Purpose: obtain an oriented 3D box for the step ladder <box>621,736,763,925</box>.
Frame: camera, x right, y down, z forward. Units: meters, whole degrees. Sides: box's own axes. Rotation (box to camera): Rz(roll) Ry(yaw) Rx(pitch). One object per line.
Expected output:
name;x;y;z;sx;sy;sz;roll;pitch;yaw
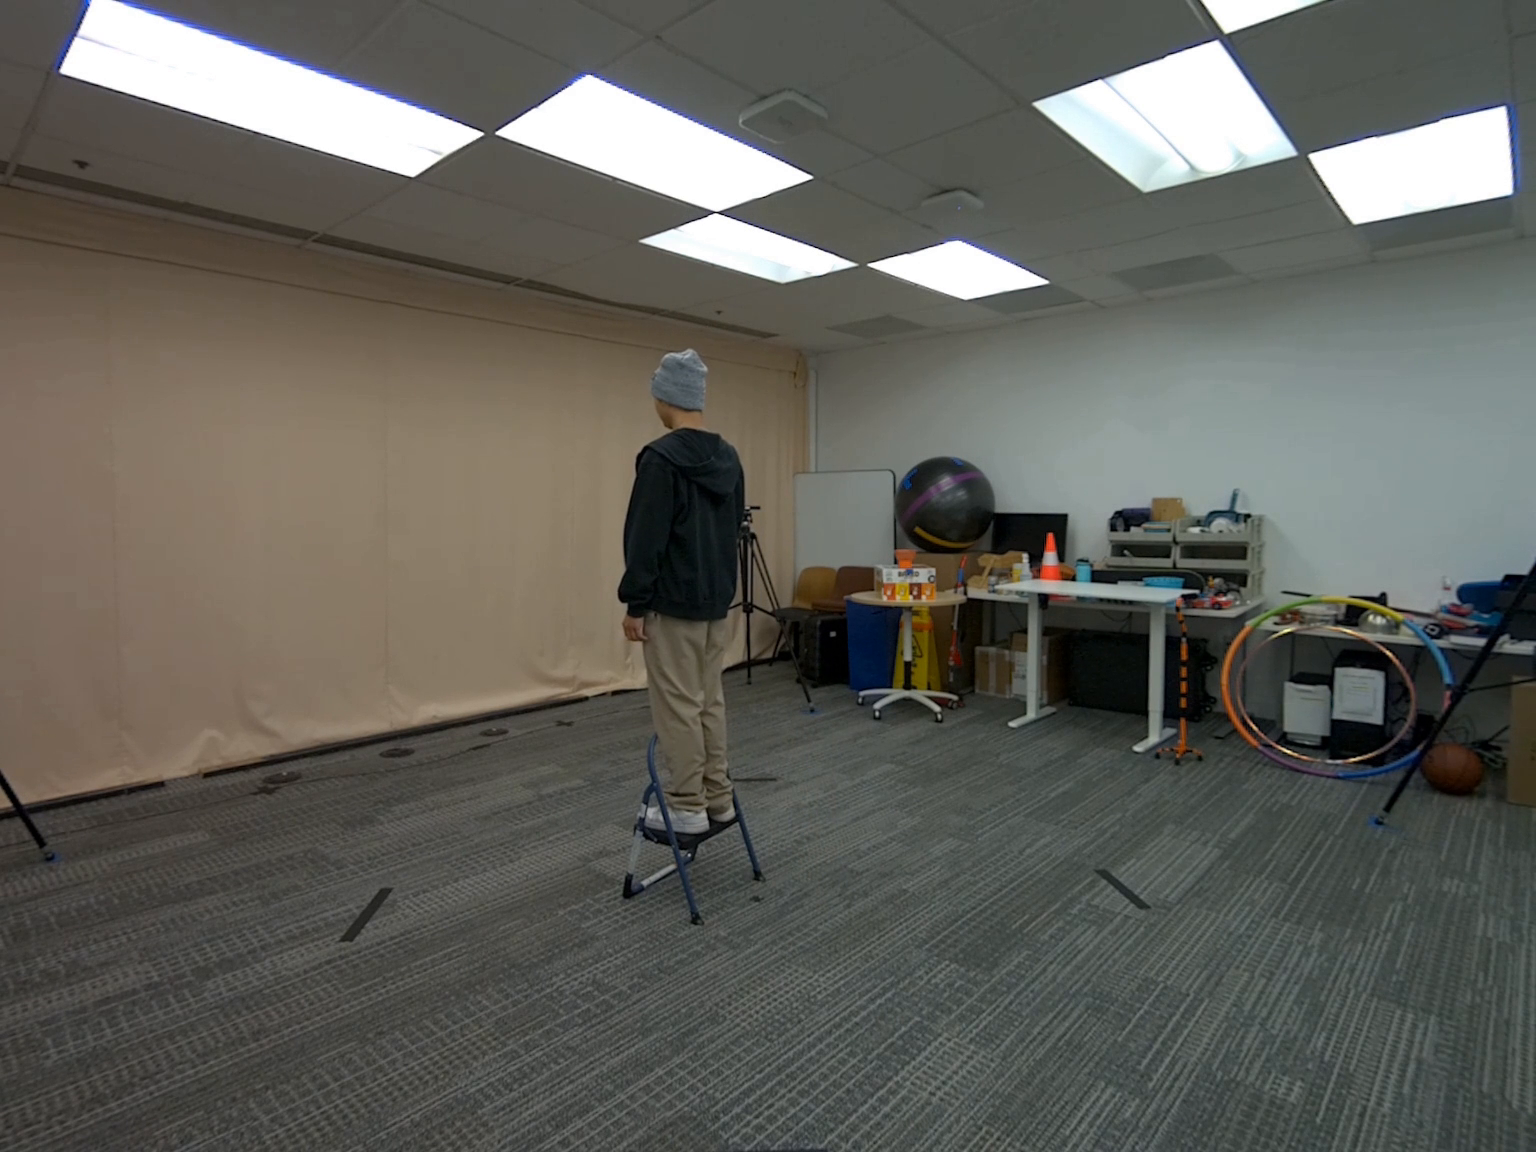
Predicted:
step ladder;-0.270;0.837;3.055;0.360;0.605;0.419;1;3;32
